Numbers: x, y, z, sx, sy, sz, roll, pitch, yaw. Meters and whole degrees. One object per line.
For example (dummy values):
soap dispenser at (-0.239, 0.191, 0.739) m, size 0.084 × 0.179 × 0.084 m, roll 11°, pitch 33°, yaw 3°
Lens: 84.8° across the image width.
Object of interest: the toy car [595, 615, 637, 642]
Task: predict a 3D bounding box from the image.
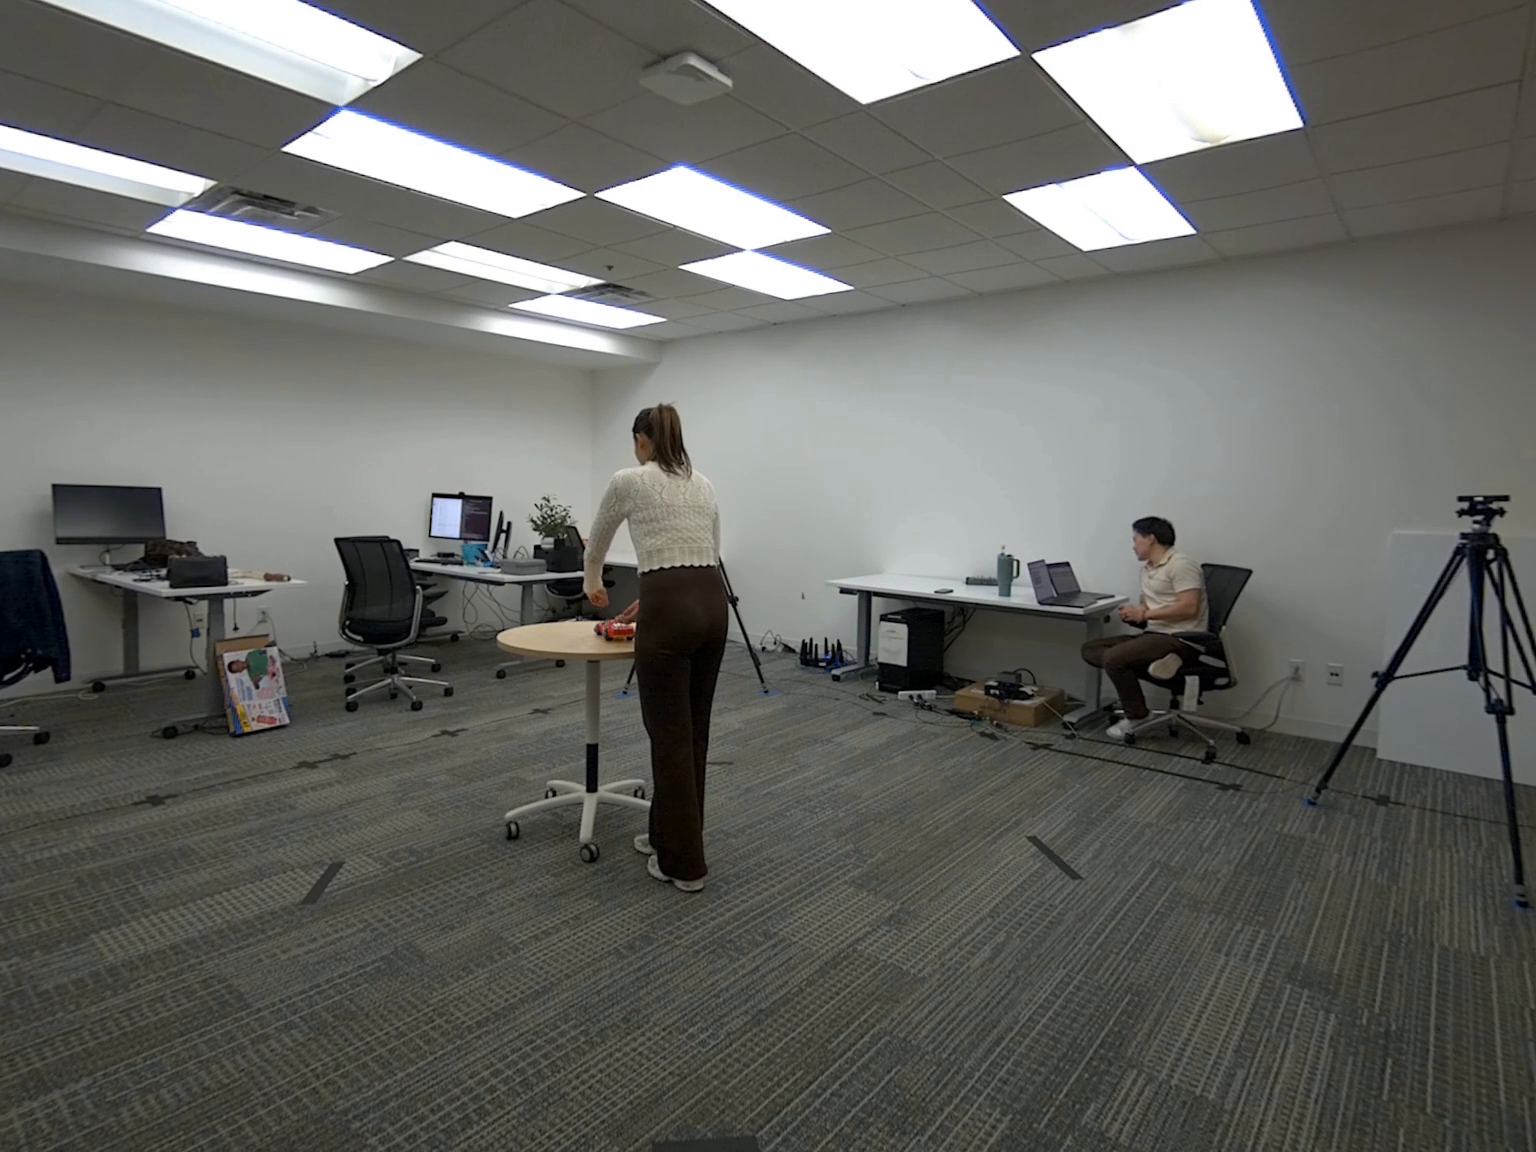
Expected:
toy car at (-0.621, 0.213, 3.409) m, size 0.127 × 0.084 × 0.259 m, roll 0°, pitch -5°, yaw -25°
